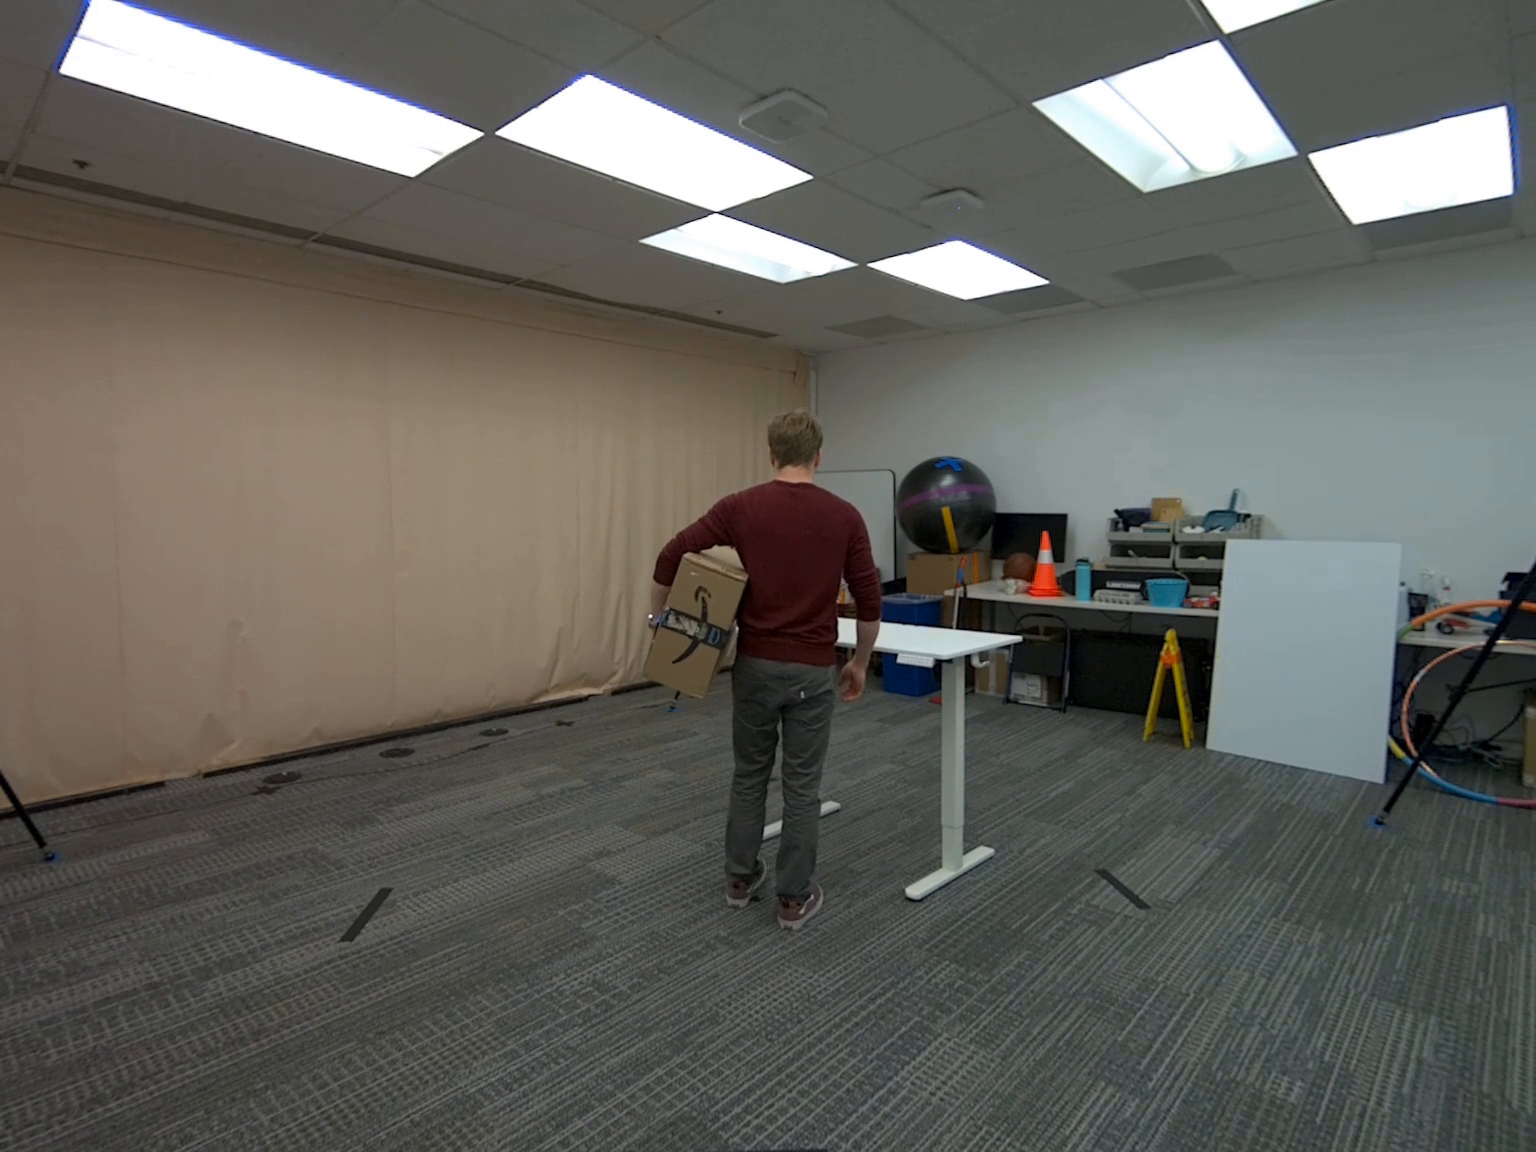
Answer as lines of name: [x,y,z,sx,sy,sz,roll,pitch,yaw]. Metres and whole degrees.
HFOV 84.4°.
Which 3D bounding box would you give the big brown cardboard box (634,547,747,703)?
big brown cardboard box: [-0.220,0.128,2.931,0.235,0.417,0.586,19,7,4]
